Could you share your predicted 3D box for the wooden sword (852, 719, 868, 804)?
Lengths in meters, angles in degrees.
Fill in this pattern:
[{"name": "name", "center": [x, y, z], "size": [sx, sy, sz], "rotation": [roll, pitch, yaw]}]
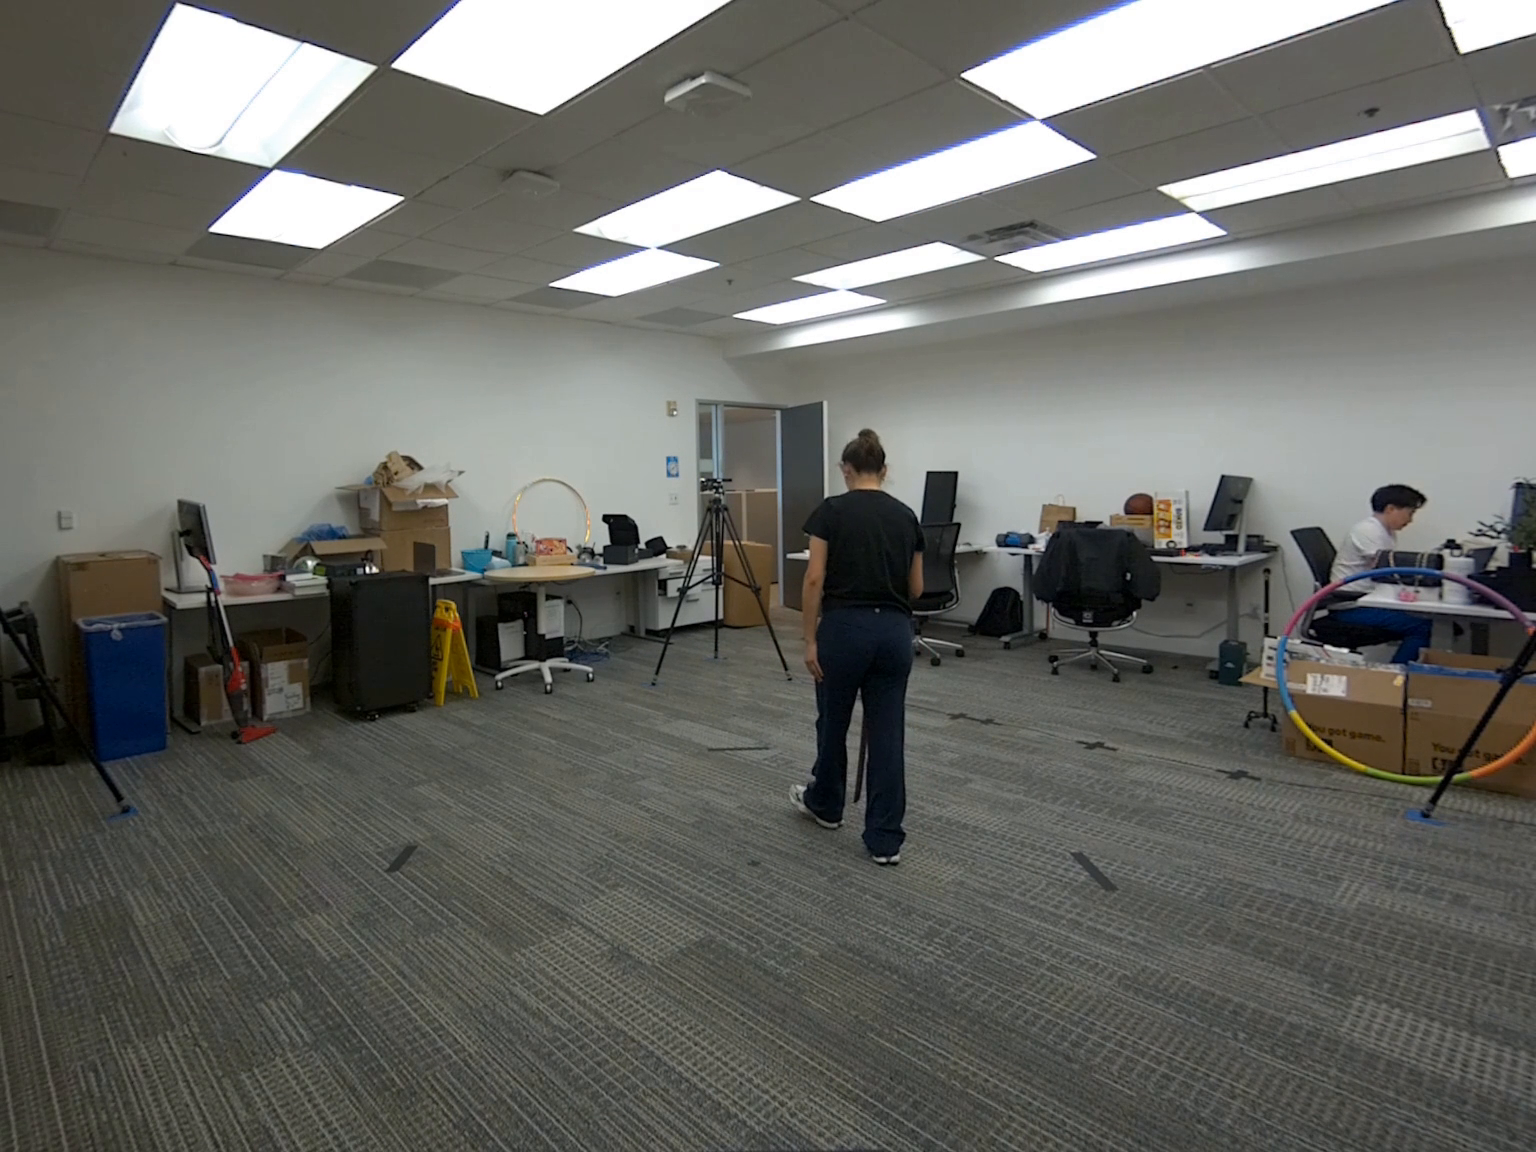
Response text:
[{"name": "wooden sword", "center": [0.410, 0.472, 3.603], "size": [0.024, 1.017, 0.052], "rotation": [1, 8, -17]}]
